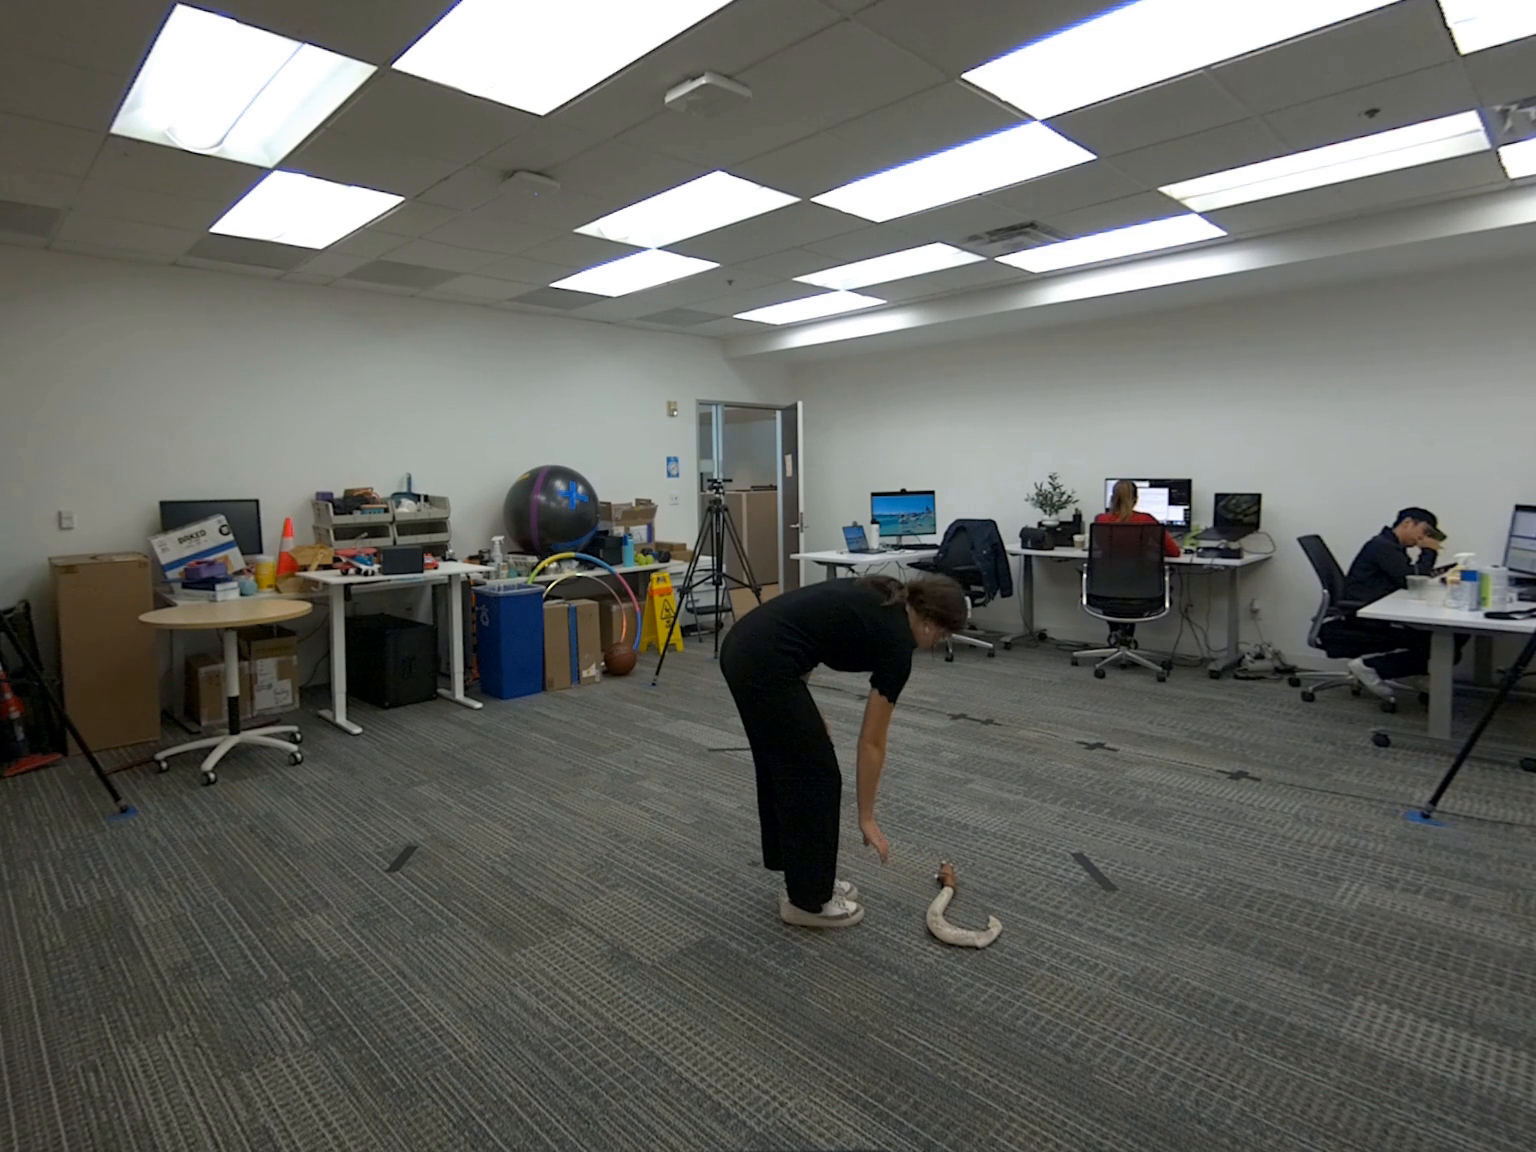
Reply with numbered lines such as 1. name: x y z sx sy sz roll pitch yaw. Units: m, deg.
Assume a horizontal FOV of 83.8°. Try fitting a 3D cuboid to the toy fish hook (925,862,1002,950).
1. toy fish hook: 0.630 1.053 2.763 0.228 0.048 0.502 8 9 12
